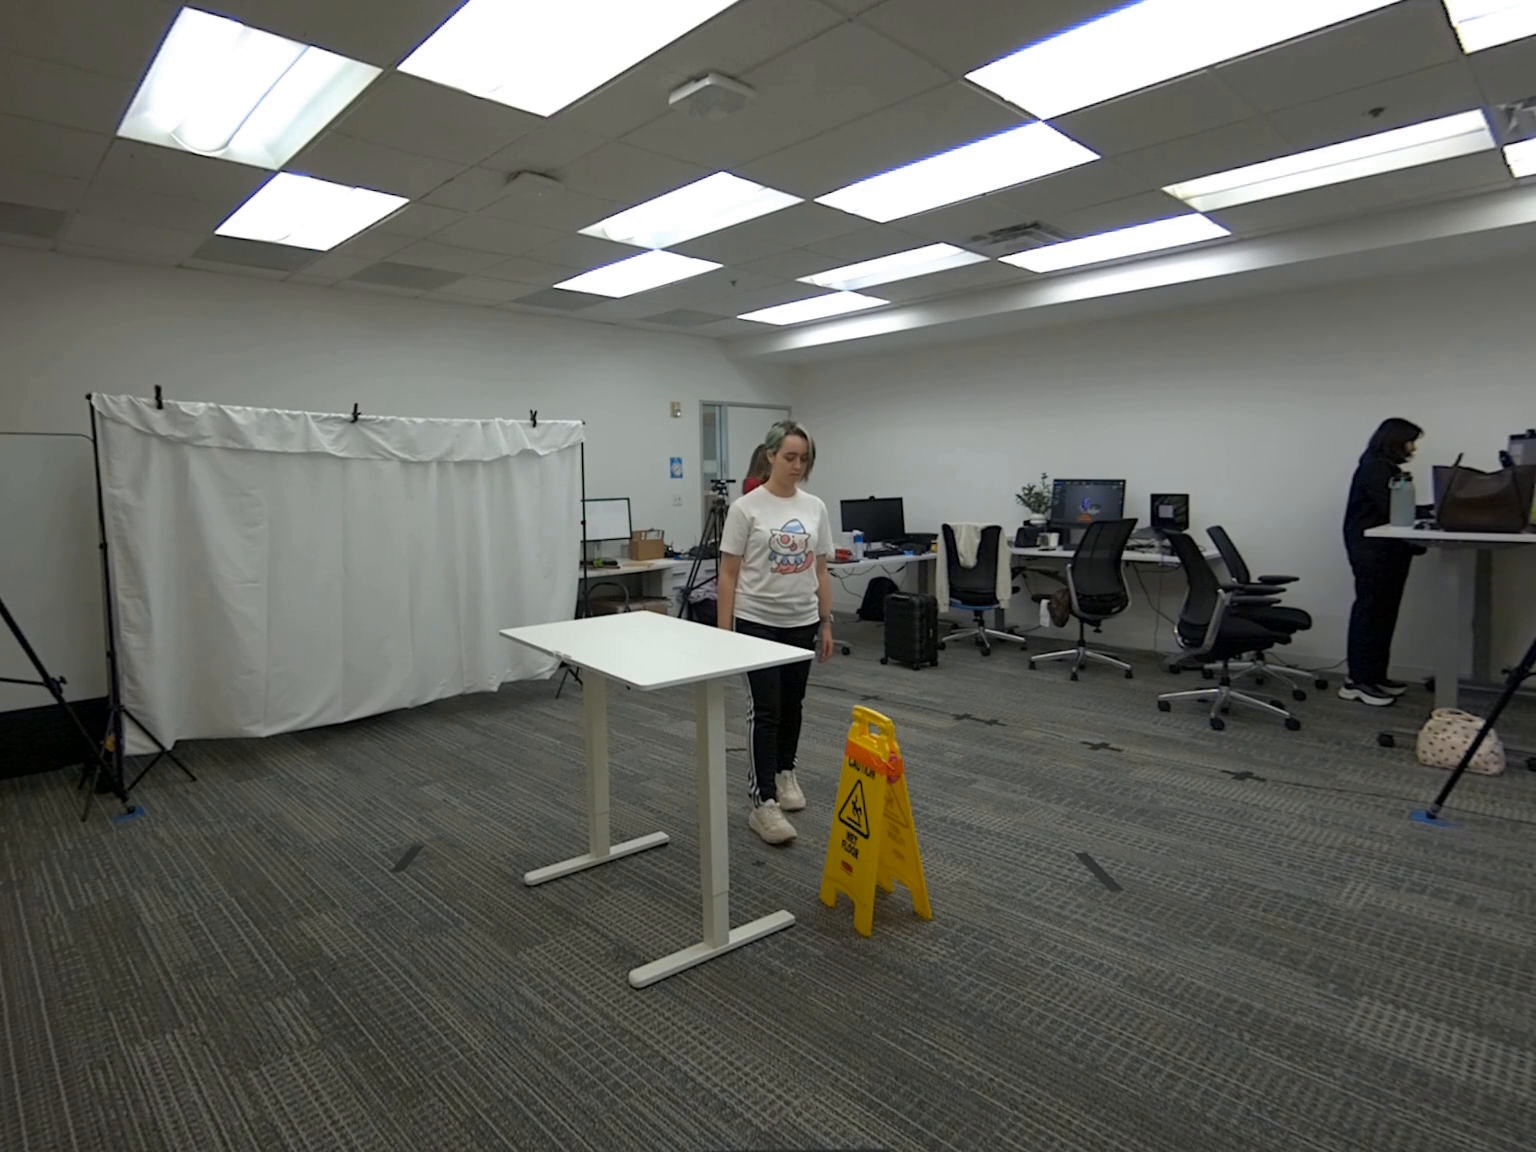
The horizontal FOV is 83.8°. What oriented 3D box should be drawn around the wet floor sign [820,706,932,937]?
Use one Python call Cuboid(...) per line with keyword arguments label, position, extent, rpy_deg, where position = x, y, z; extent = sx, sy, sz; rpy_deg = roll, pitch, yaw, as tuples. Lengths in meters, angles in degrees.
Cuboid(label="wet floor sign", position=(0.342, 0.761, 2.738), extent=(0.284, 0.644, 0.289), rpy_deg=(-2, 4, -25))
